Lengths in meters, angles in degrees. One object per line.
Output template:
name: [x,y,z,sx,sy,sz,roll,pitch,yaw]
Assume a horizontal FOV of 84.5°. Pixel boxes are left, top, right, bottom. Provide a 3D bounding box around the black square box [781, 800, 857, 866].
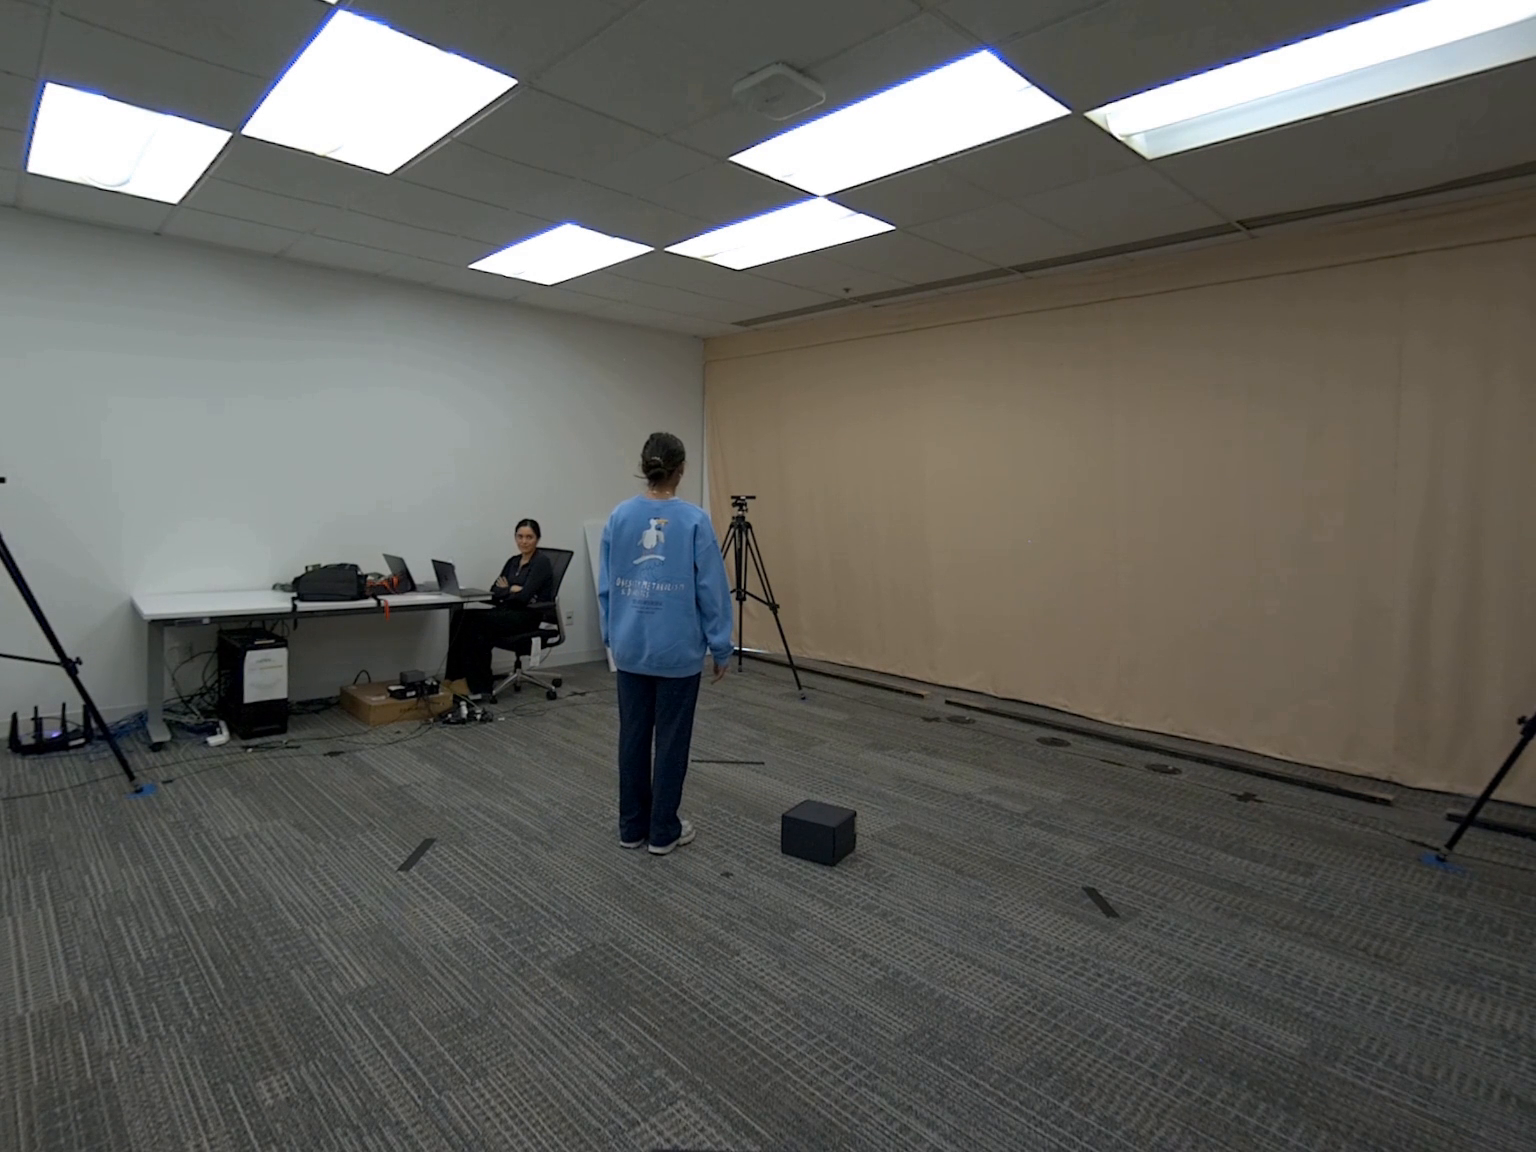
black square box: [0.195,1.006,3.324,0.233,0.155,0.213,4,4,30]
